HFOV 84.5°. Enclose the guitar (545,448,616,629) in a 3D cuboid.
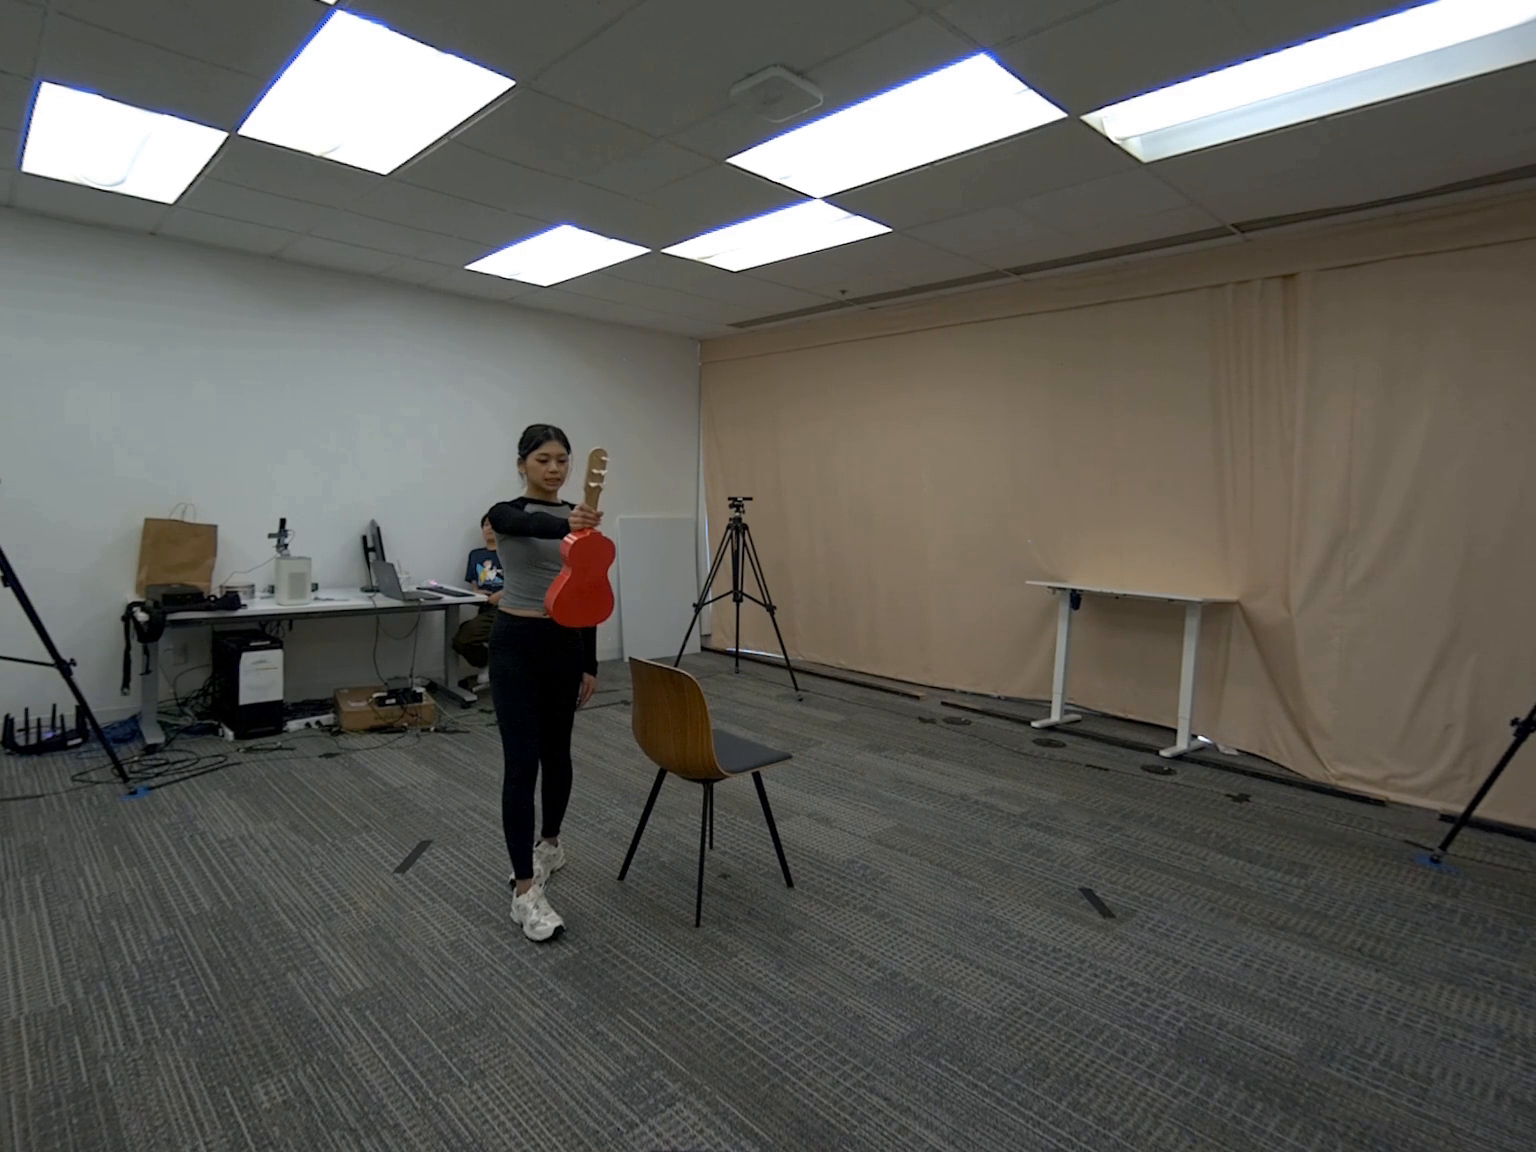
[{"bbox_3d":[-0.524,-0.096,2.326,0.189,0.492,0.073,-10,21,-39],"label":"guitar"}]
